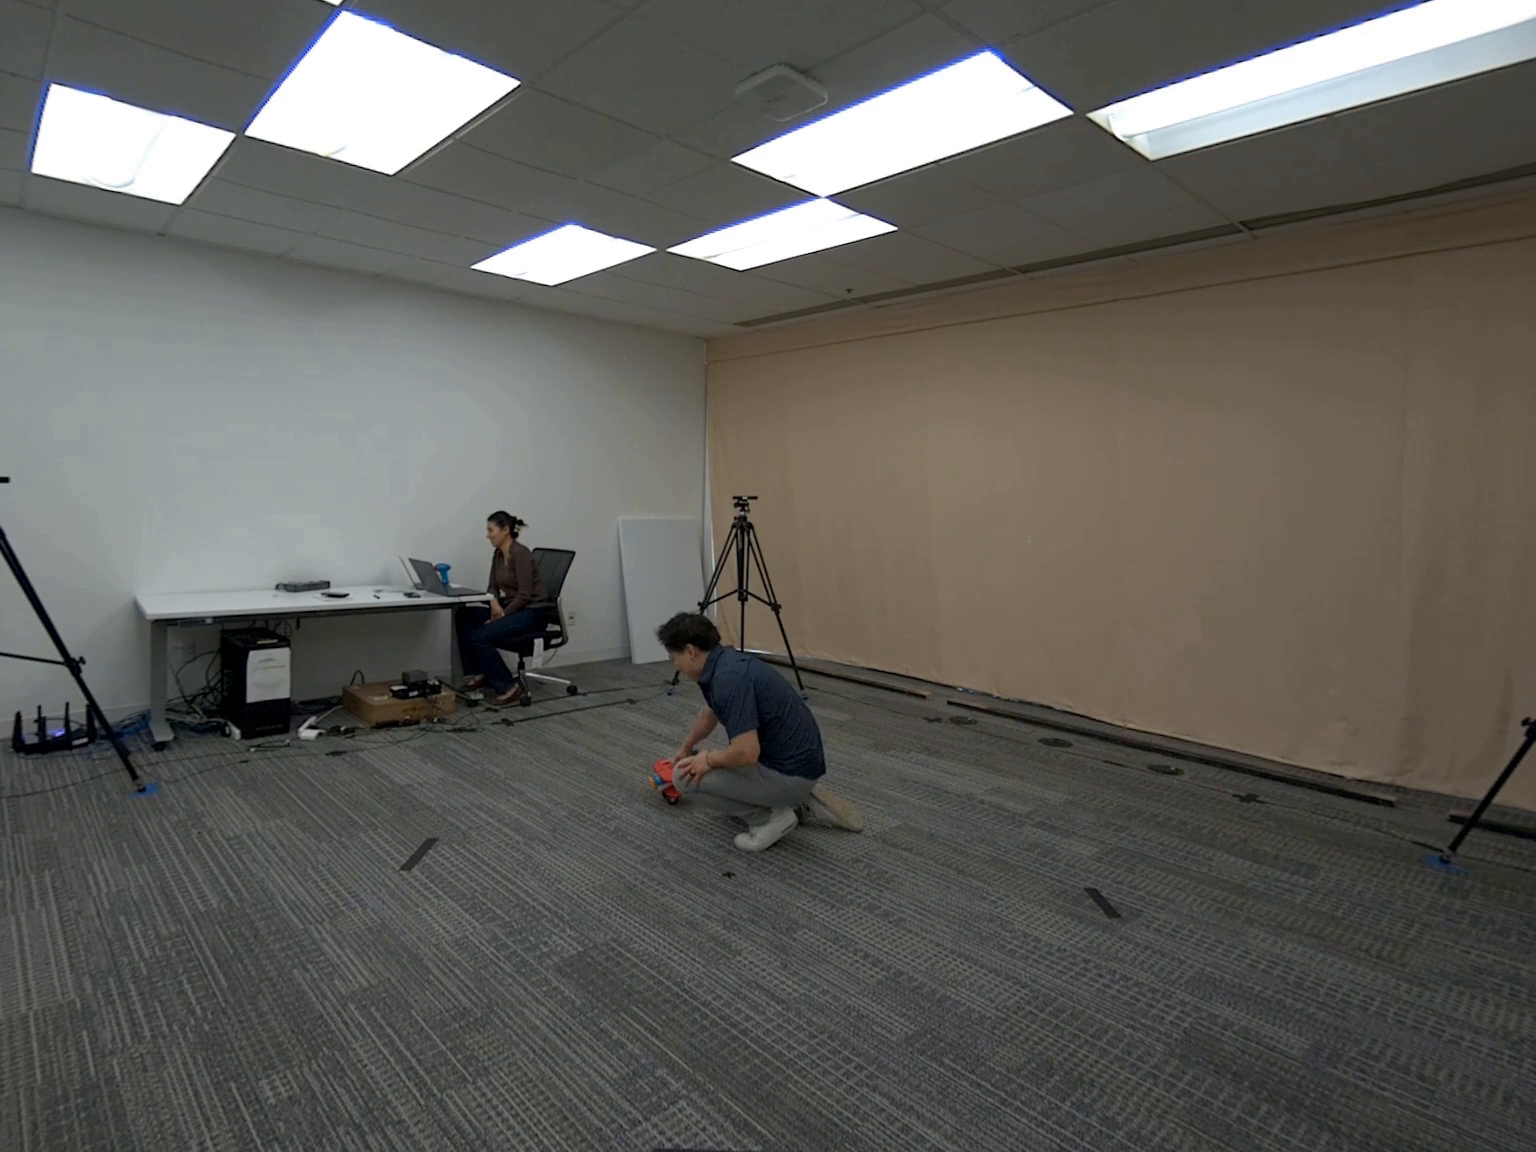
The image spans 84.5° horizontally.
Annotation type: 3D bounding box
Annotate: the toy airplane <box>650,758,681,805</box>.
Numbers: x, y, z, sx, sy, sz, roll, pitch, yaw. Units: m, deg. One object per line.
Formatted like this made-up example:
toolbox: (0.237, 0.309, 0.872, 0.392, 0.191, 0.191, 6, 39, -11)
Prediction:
toy airplane: (-0.427, 0.920, 3.879, 0.255, 0.154, 0.259, -16, 23, 45)
